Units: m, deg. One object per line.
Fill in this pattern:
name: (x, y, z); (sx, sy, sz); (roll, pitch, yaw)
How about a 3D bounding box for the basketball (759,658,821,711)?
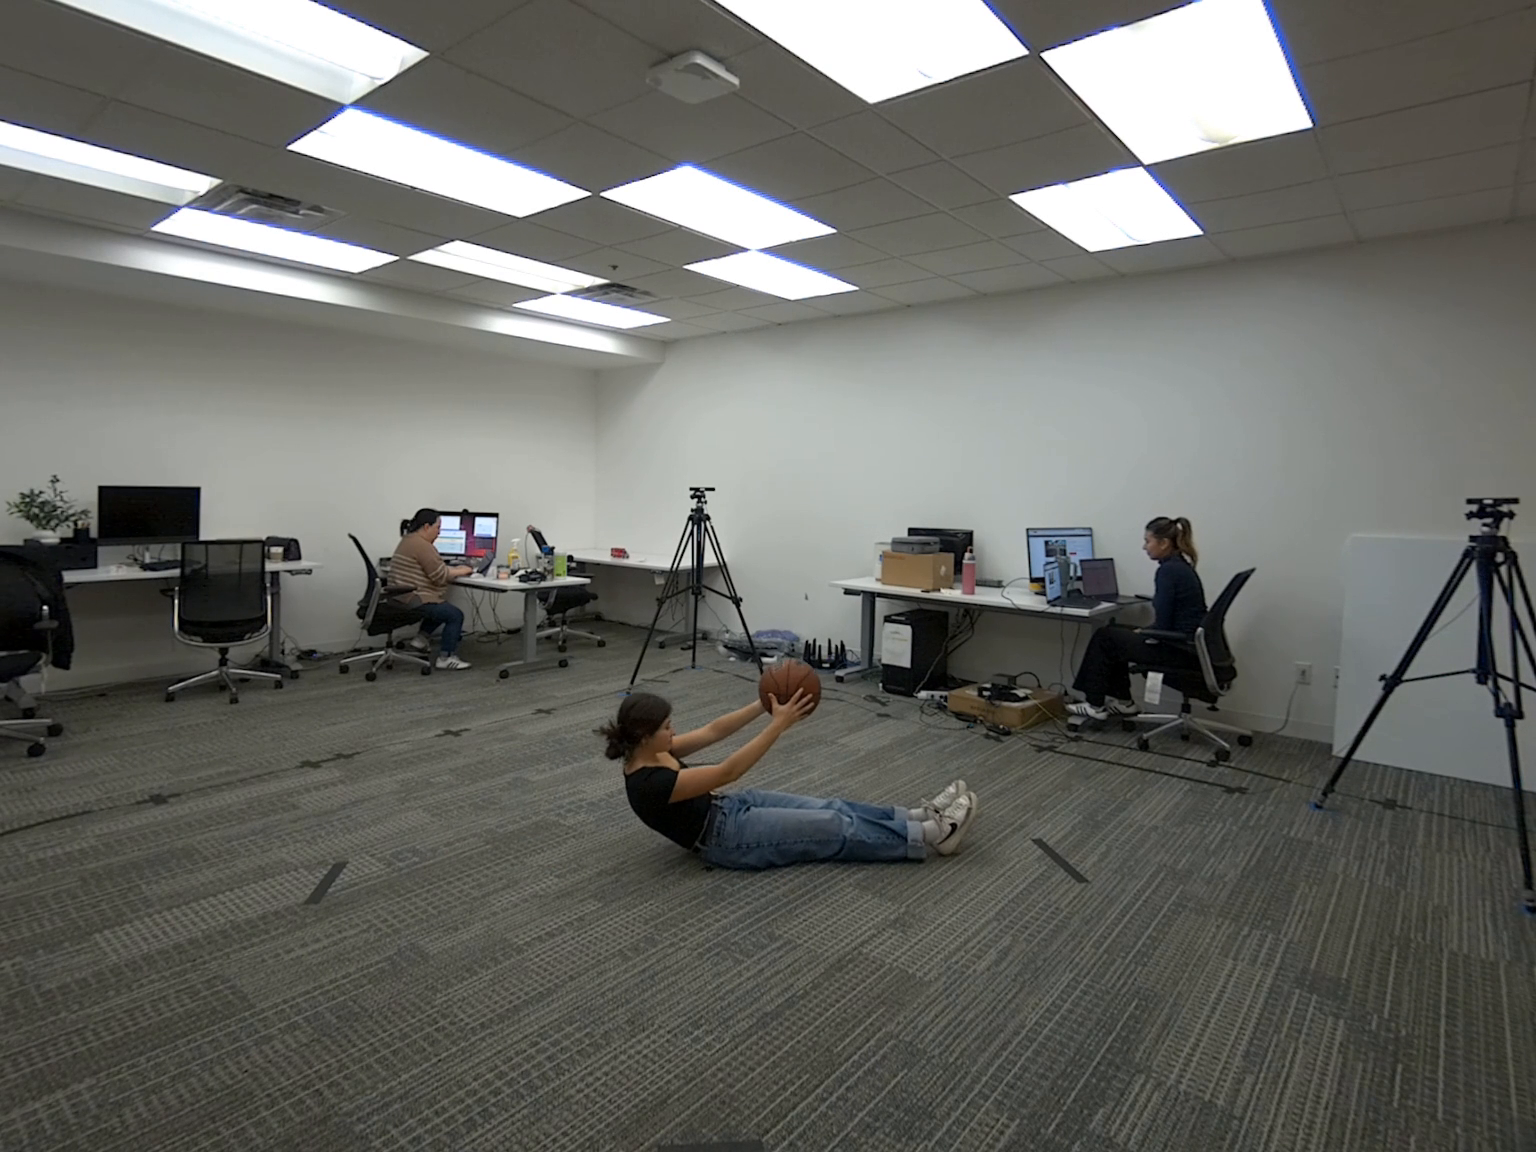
basketball: (0.071, 0.424, 3.229); (0.235, 0.235, 0.237); (1, 4, -2)
